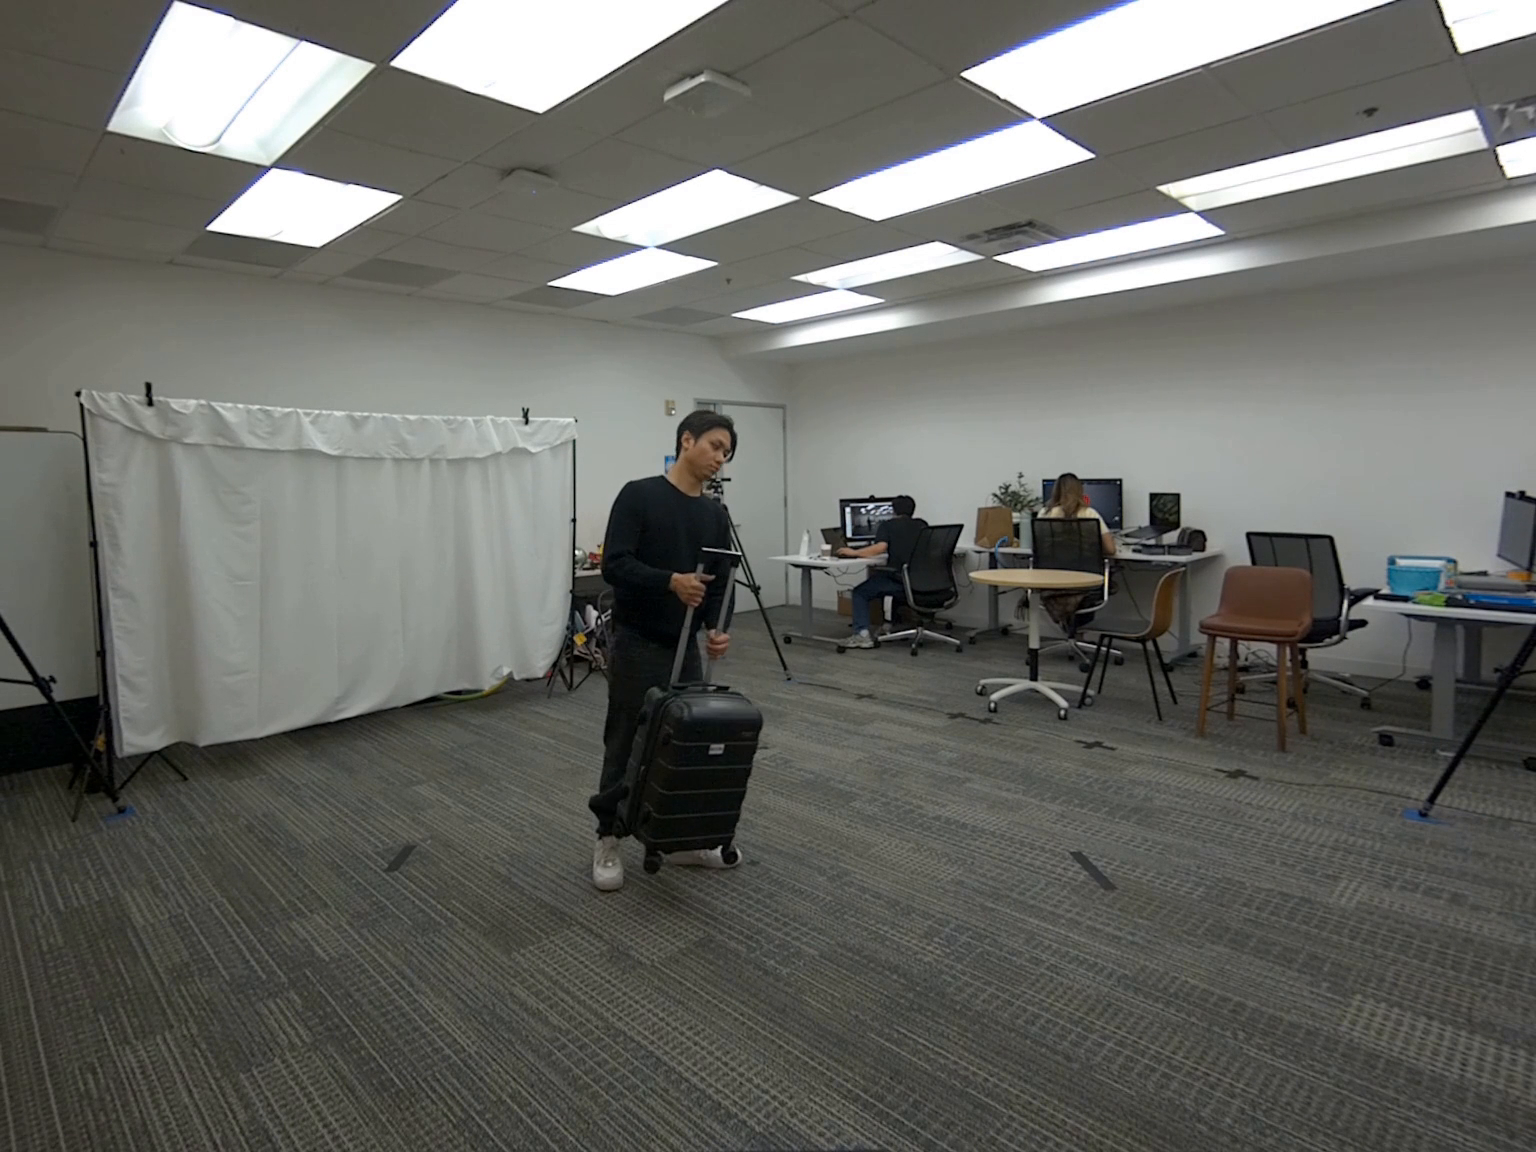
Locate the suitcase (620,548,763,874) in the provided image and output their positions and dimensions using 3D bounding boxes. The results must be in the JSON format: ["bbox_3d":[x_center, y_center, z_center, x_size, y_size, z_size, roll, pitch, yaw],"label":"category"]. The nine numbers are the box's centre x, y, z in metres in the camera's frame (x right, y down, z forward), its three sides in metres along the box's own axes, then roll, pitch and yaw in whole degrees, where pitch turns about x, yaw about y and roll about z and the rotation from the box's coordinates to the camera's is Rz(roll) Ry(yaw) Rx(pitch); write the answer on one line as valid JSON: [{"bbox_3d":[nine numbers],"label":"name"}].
[{"bbox_3d":[-0.197,0.439,2.733,0.373,0.973,0.266,8,11,-33],"label":"suitcase"}]
